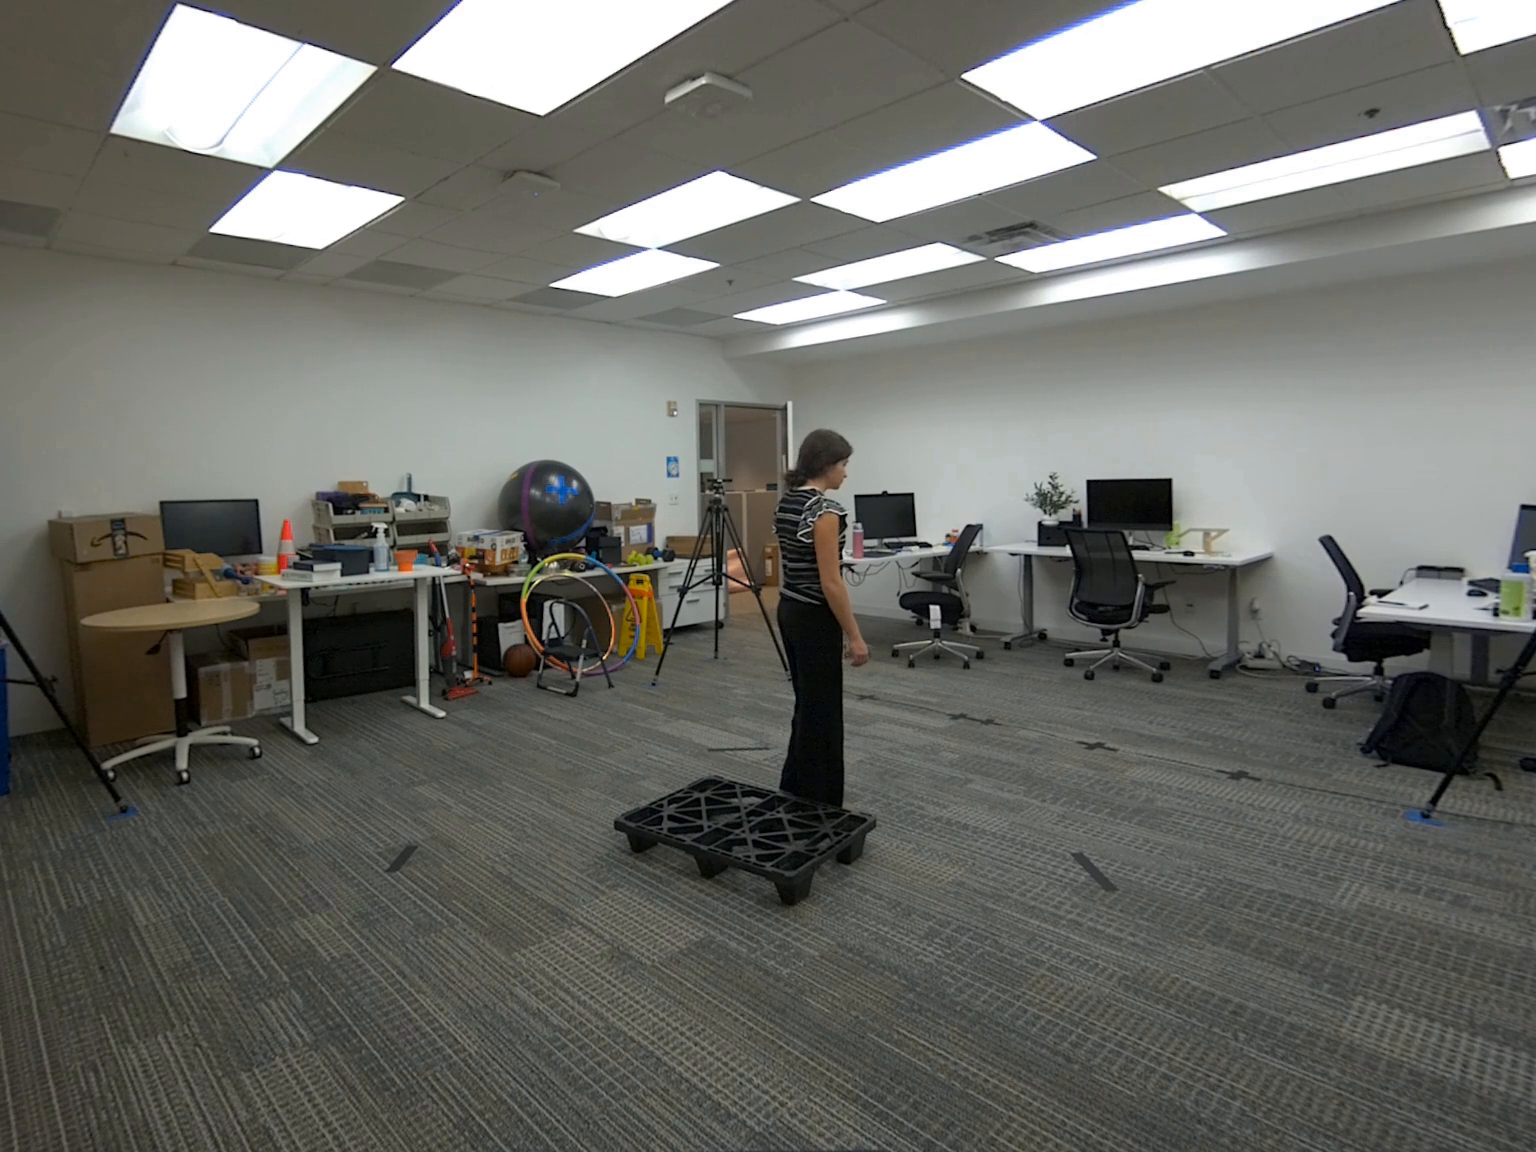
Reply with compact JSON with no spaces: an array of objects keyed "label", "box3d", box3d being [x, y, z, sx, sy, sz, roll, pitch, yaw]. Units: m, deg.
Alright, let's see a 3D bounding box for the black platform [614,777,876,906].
[{"label":"black platform","box3d":[-0.086,0.968,3.193,0.829,0.143,0.590,4,7,36]}]
